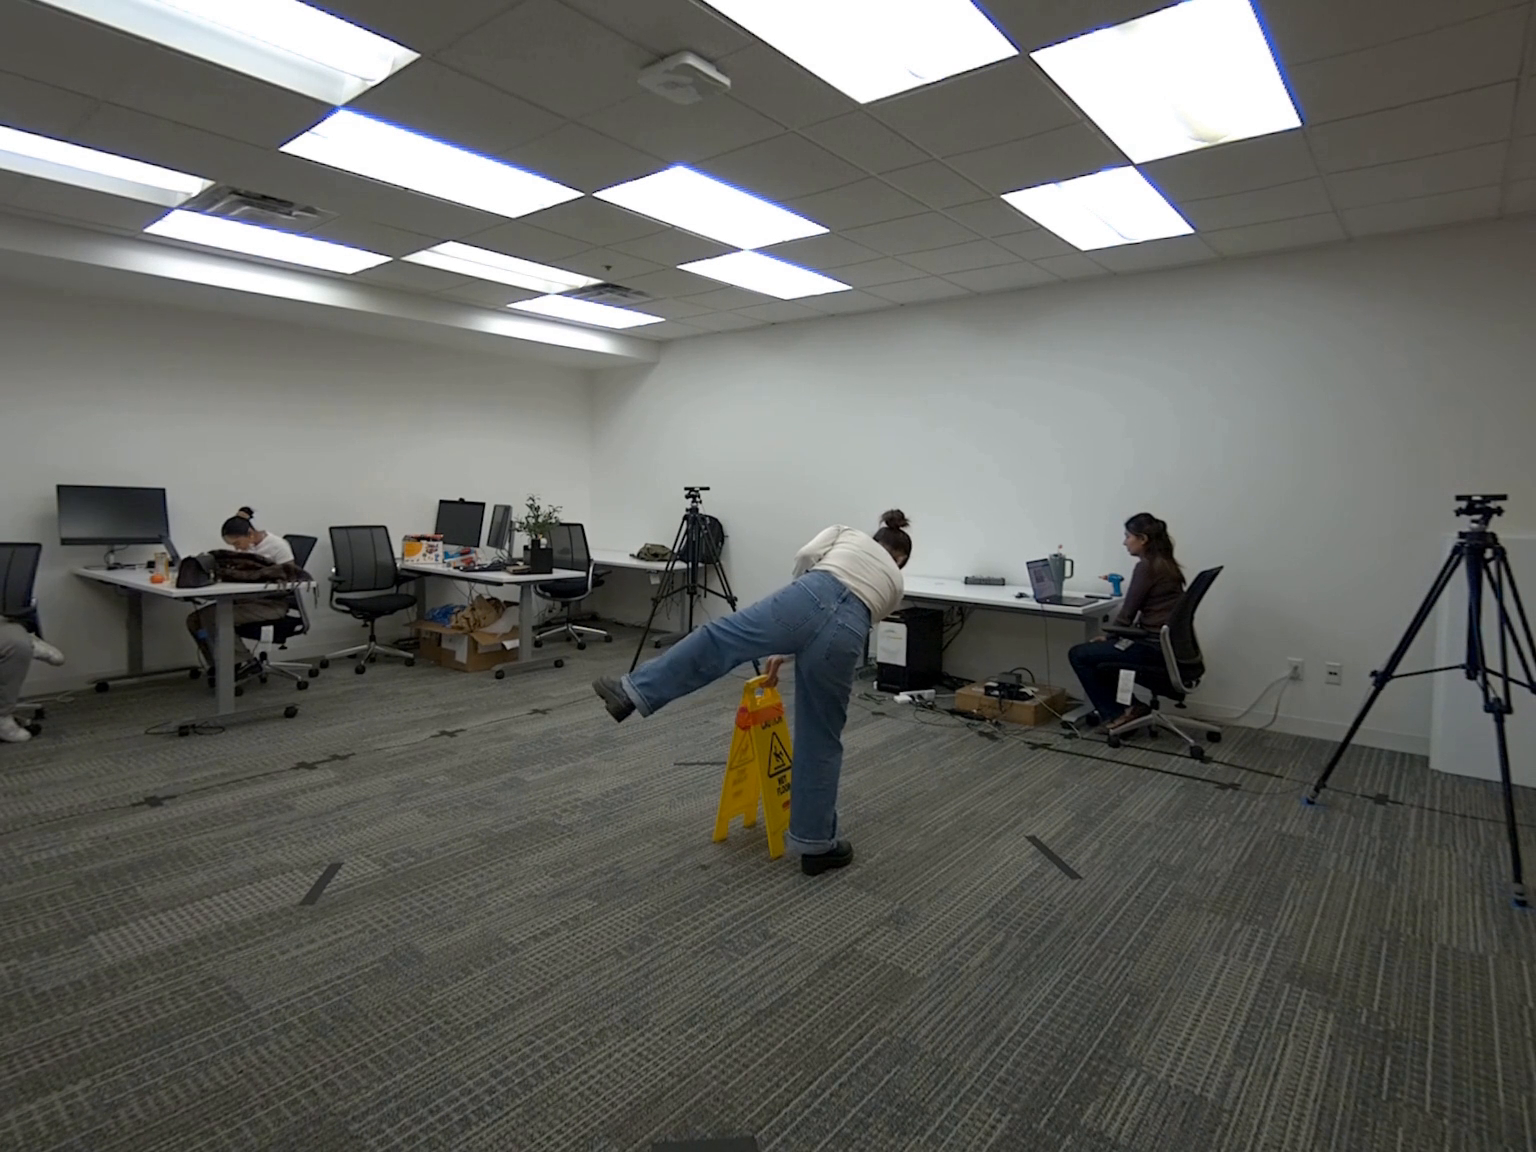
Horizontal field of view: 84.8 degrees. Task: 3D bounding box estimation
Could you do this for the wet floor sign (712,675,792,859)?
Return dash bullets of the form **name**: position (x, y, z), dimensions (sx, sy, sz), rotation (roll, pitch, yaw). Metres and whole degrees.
- **wet floor sign**: position (-0.032, 0.716, 3.360), dimensions (0.299, 0.645, 0.274), rotation (1, 3, 35)
